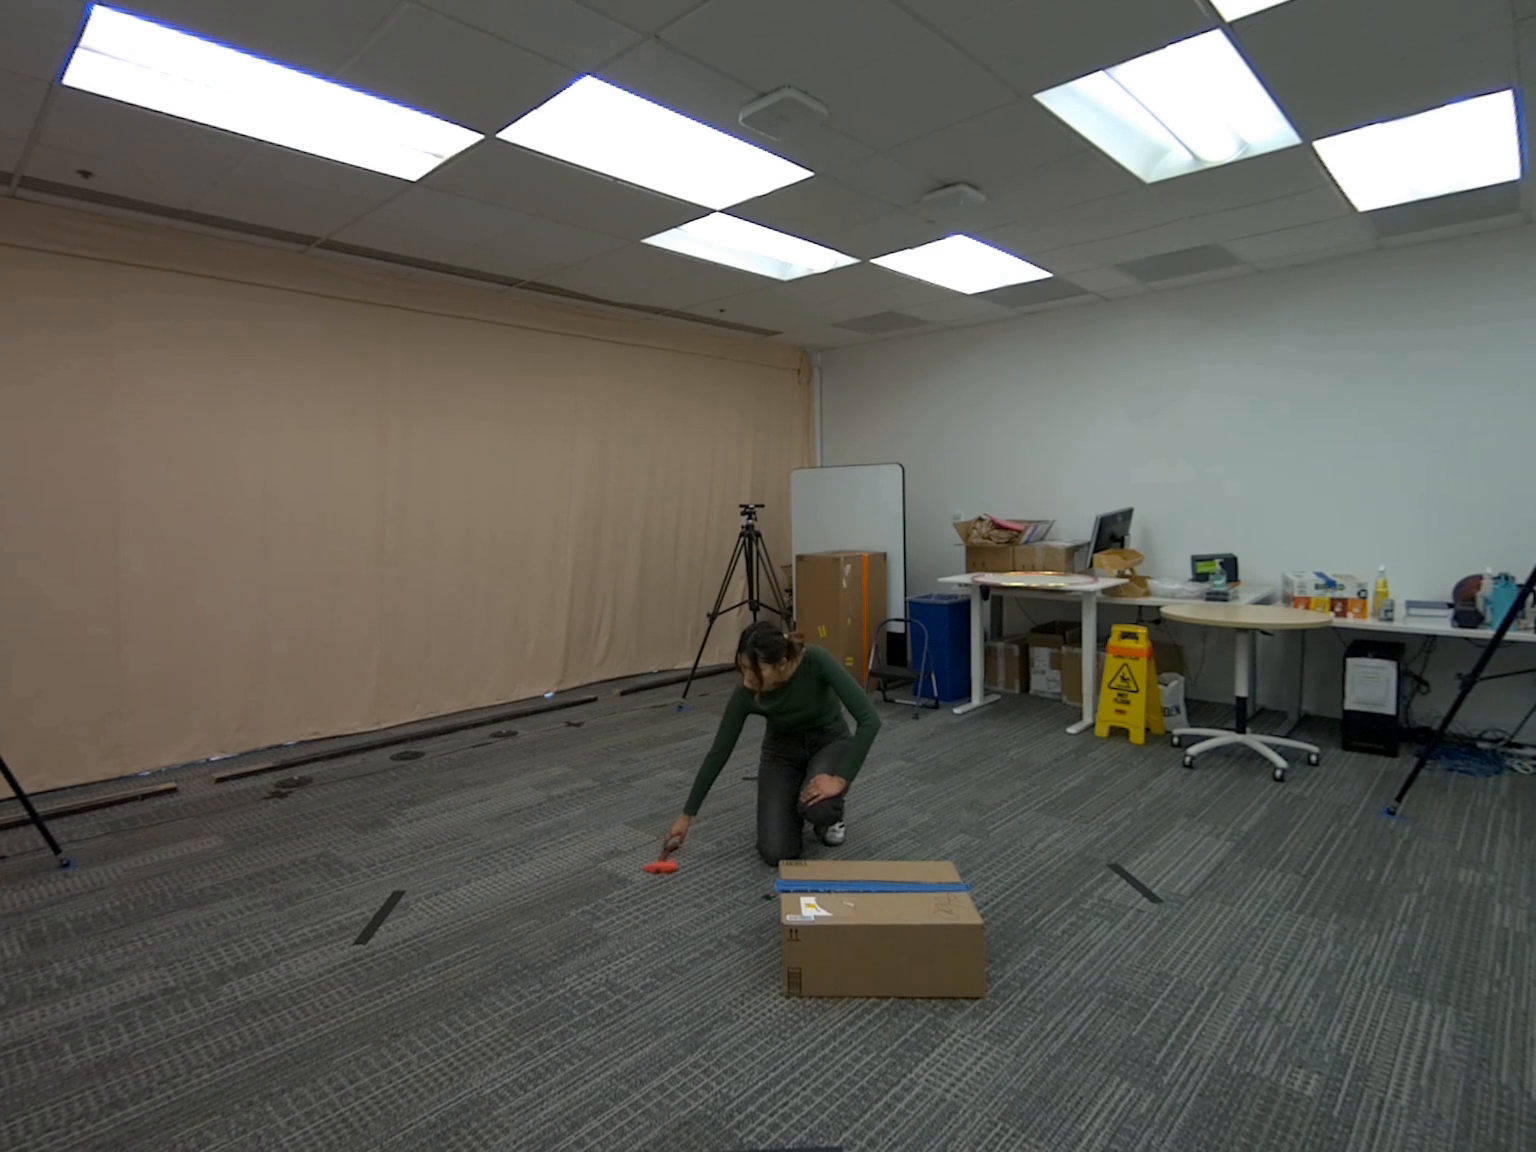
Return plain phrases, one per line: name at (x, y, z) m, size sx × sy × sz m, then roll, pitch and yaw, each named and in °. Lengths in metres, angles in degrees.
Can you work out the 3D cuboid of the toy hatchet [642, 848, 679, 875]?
toy hatchet at (-0.376, 1.108, 3.310) m, size 0.134 × 0.029 × 0.264 m, roll -4°, pitch 3°, yaw 23°
